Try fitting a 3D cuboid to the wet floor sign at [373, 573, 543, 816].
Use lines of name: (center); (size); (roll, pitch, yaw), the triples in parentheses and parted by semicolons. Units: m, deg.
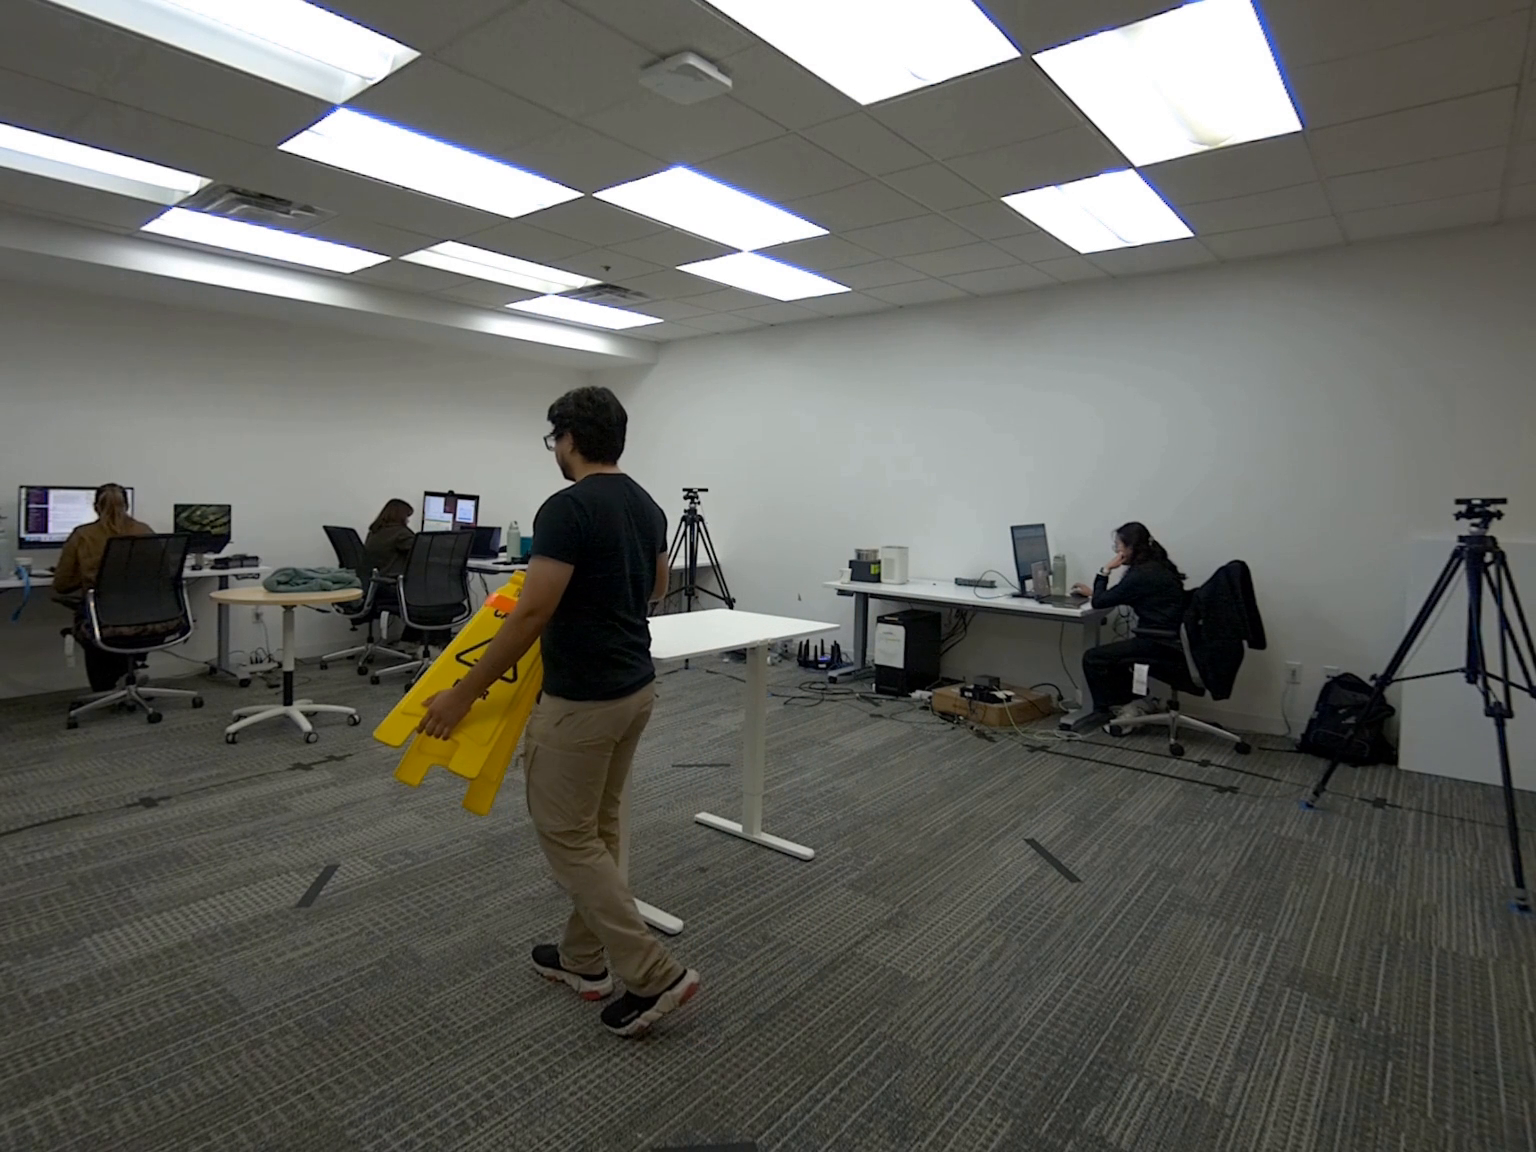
wet floor sign: (-0.760, 0.271, 2.337); (0.284, 0.655, 0.284); (19, -36, 3)
